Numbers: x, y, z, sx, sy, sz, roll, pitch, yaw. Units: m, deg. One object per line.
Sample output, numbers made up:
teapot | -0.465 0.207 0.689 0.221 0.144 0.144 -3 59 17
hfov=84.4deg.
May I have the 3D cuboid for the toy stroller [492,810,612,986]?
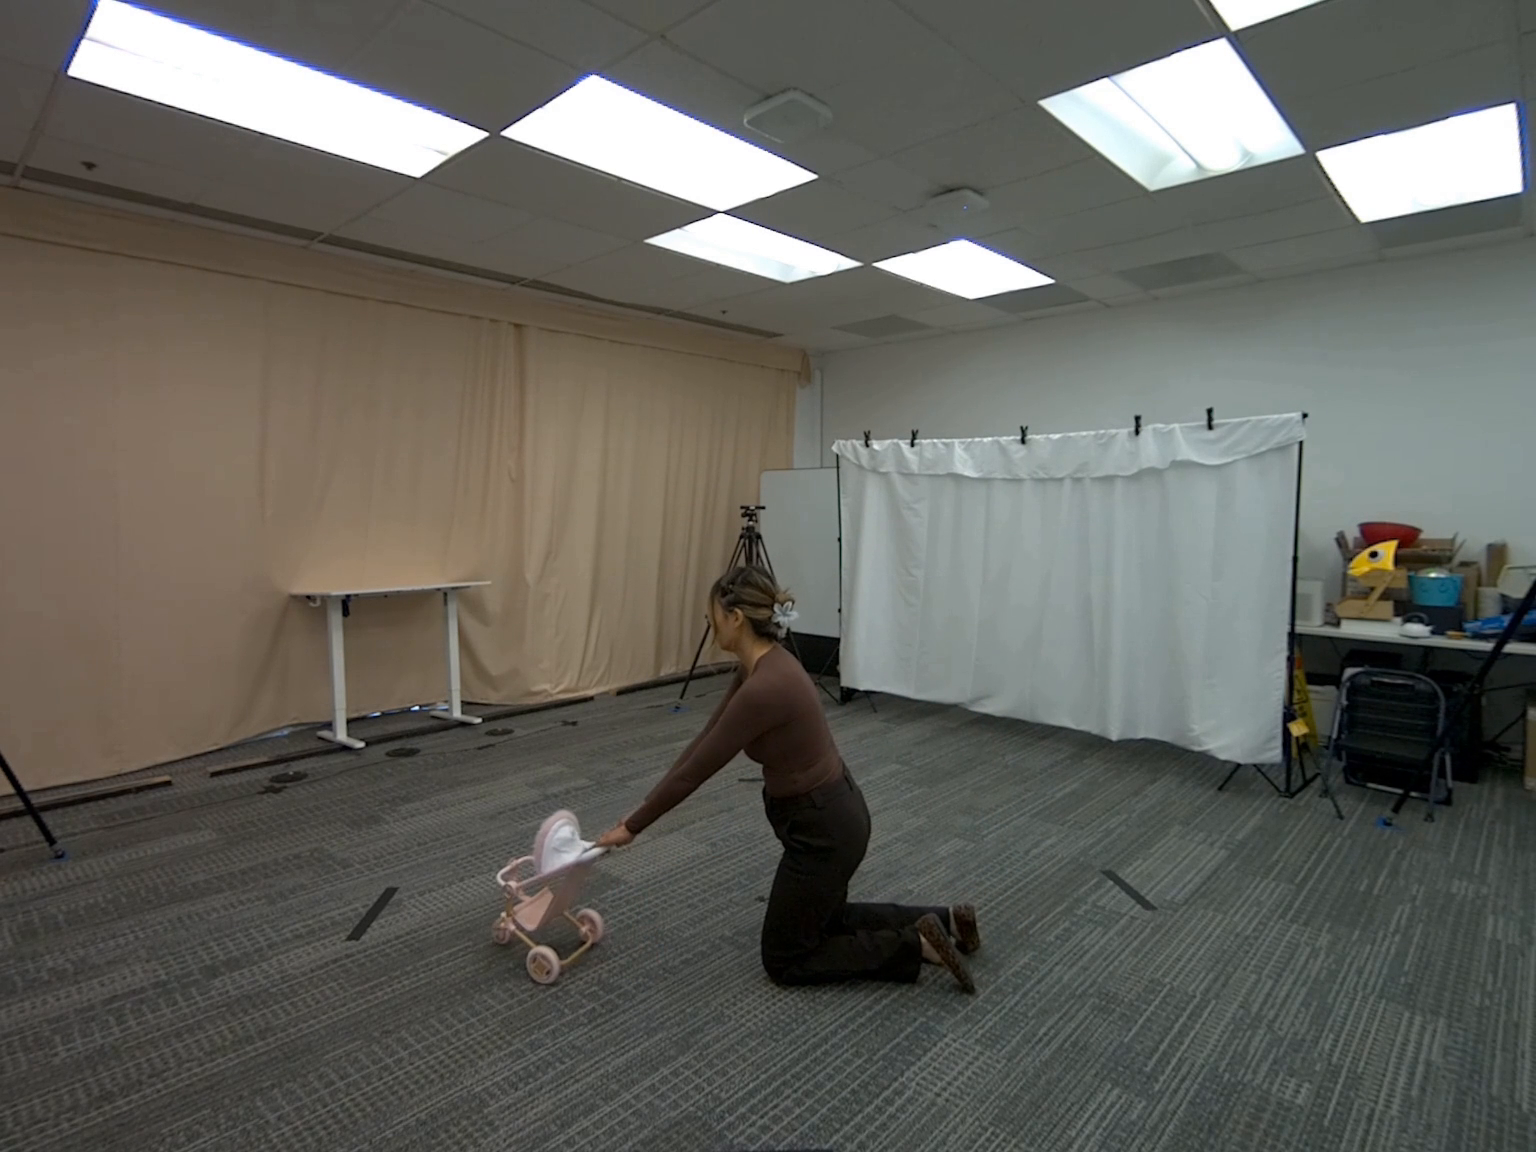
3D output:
toy stroller | -0.659 0.959 2.591 0.351 0.533 0.274 21 13 26
